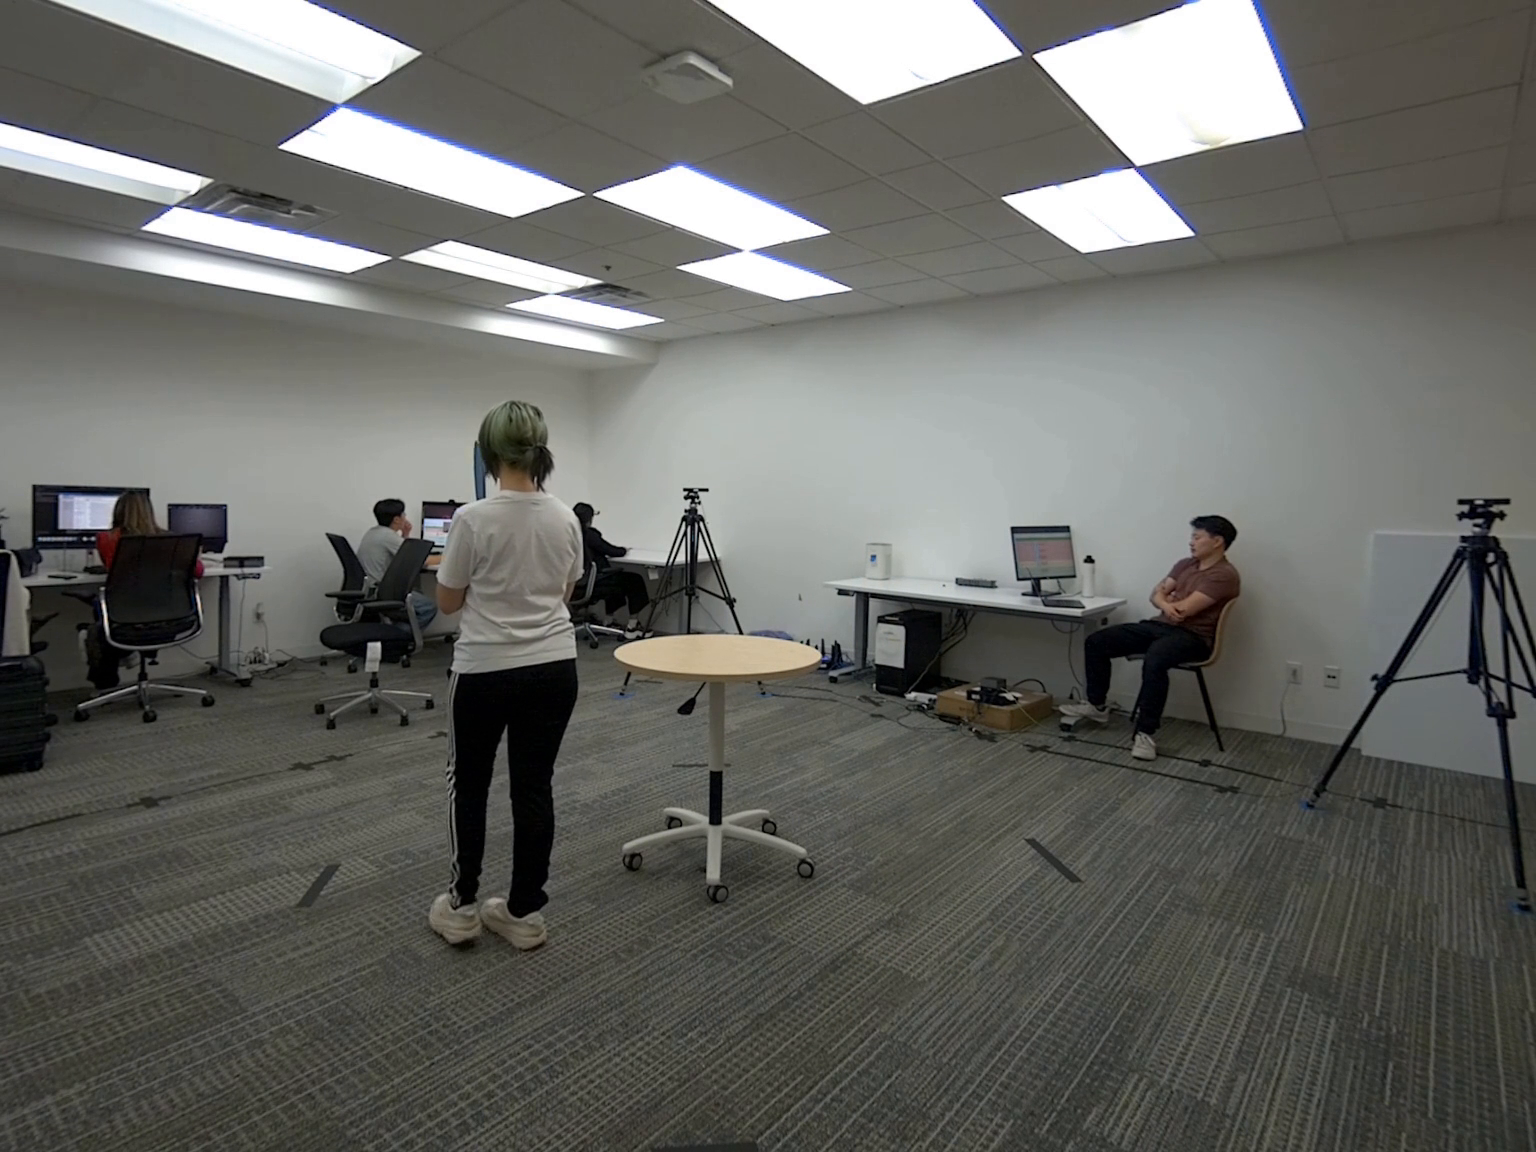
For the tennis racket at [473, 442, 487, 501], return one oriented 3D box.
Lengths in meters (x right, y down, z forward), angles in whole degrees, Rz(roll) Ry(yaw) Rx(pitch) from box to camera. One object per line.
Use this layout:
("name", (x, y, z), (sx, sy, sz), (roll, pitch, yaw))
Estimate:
("tennis racket", (-0.968, -0.256, 2.834), (0.031, 0.442, 0.213), (-4, -20, -21))
